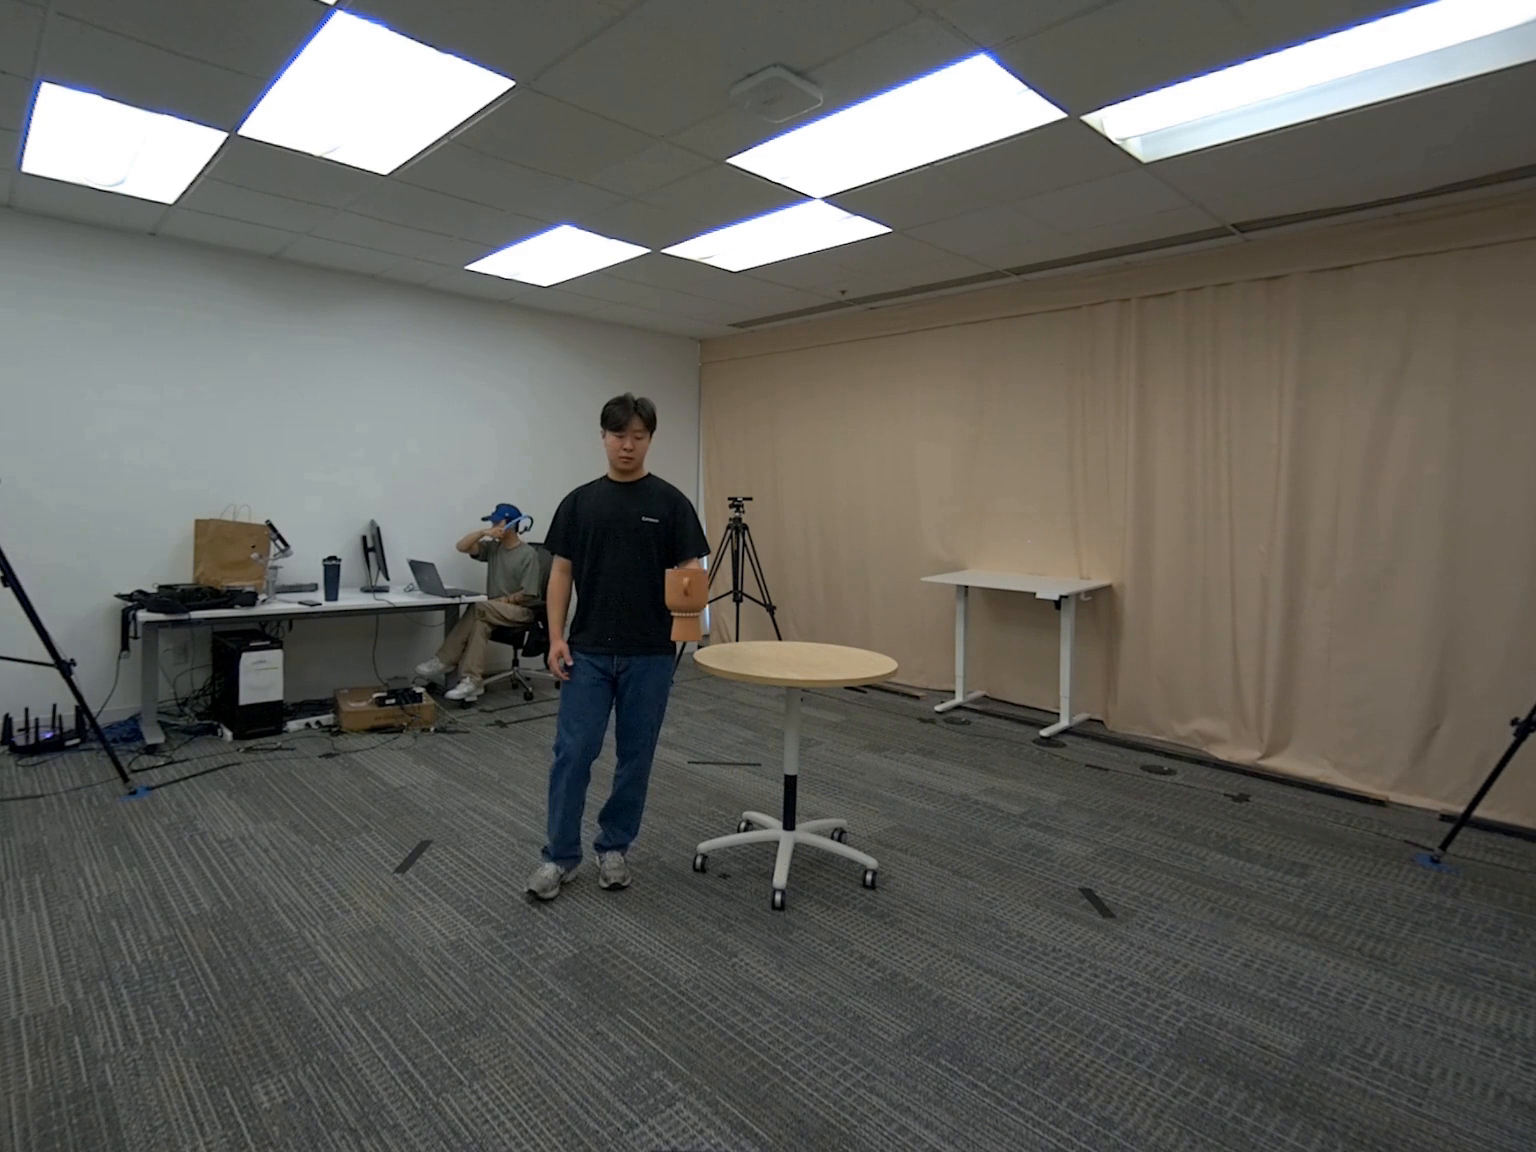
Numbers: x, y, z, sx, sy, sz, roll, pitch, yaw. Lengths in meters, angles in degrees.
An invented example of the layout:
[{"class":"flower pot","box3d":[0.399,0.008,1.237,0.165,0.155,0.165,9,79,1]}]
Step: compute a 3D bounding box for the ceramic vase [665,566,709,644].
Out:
[{"class":"ceramic vase","box3d":[-0.262,0.092,2.608,0.138,0.219,0.155,1,3,36]}]
